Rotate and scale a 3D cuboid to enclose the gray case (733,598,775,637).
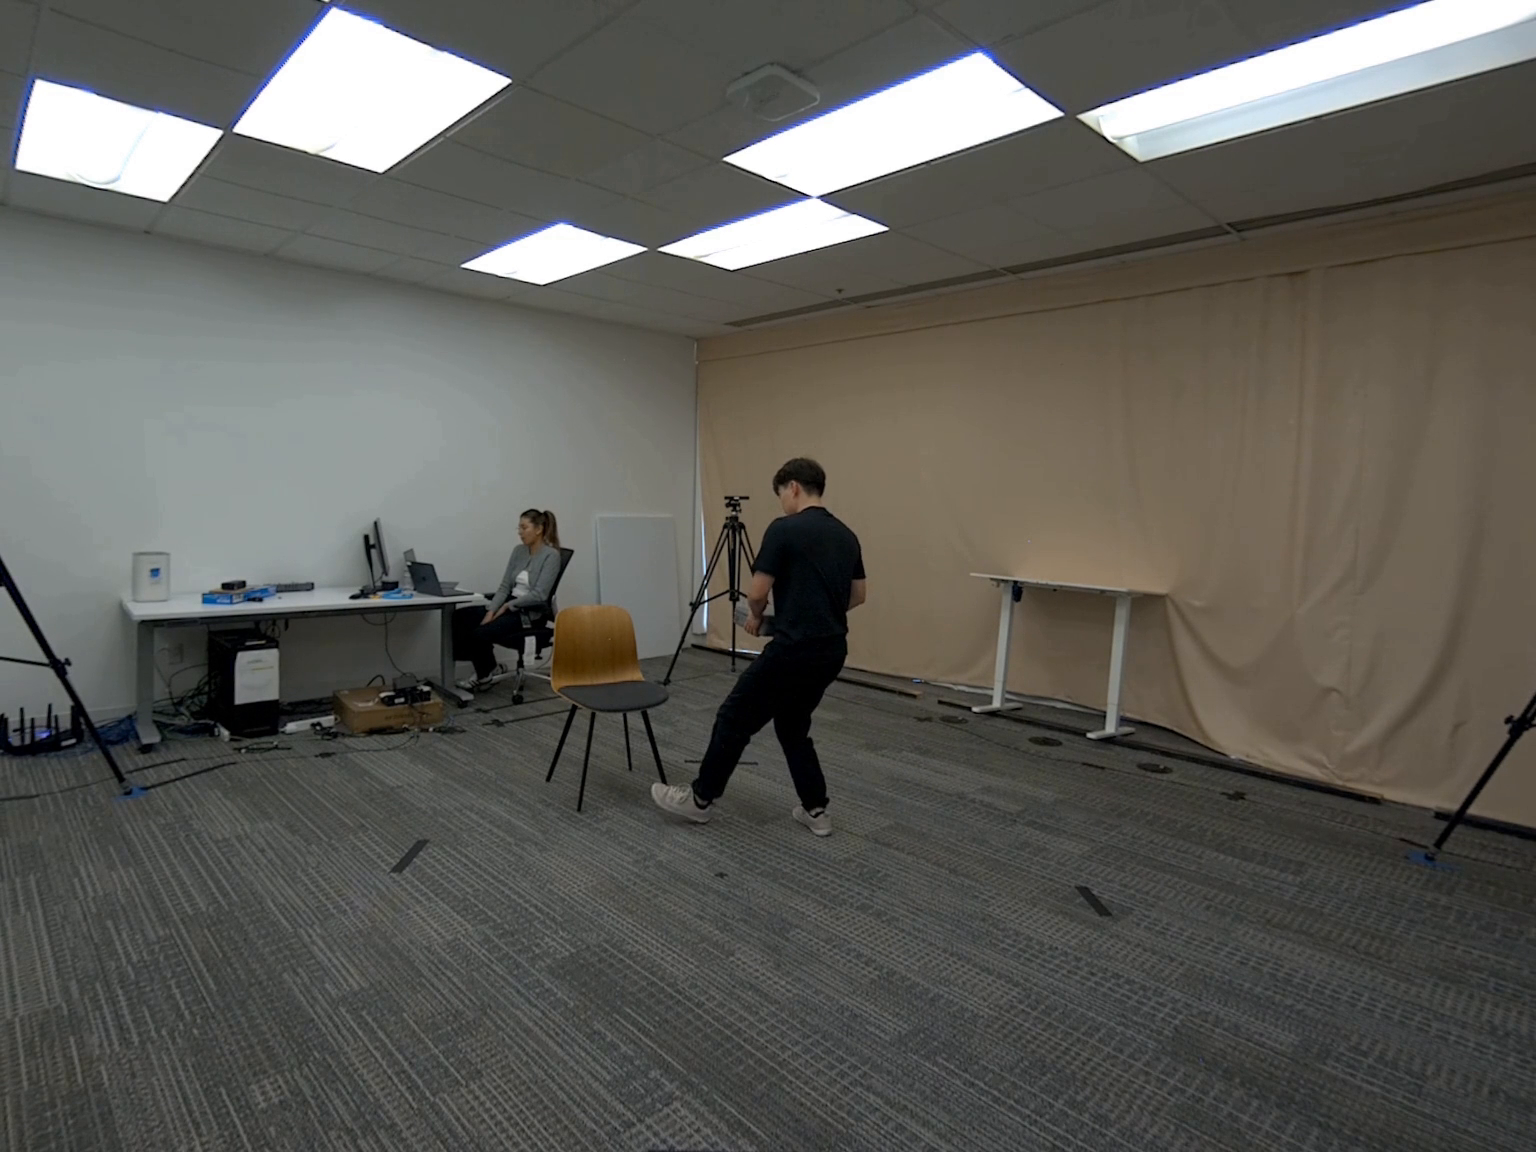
[{"bbox_3d":[-0.005,0.195,3.810,0.251,0.104,0.268,2,11,-36],"label":"gray case"}]
